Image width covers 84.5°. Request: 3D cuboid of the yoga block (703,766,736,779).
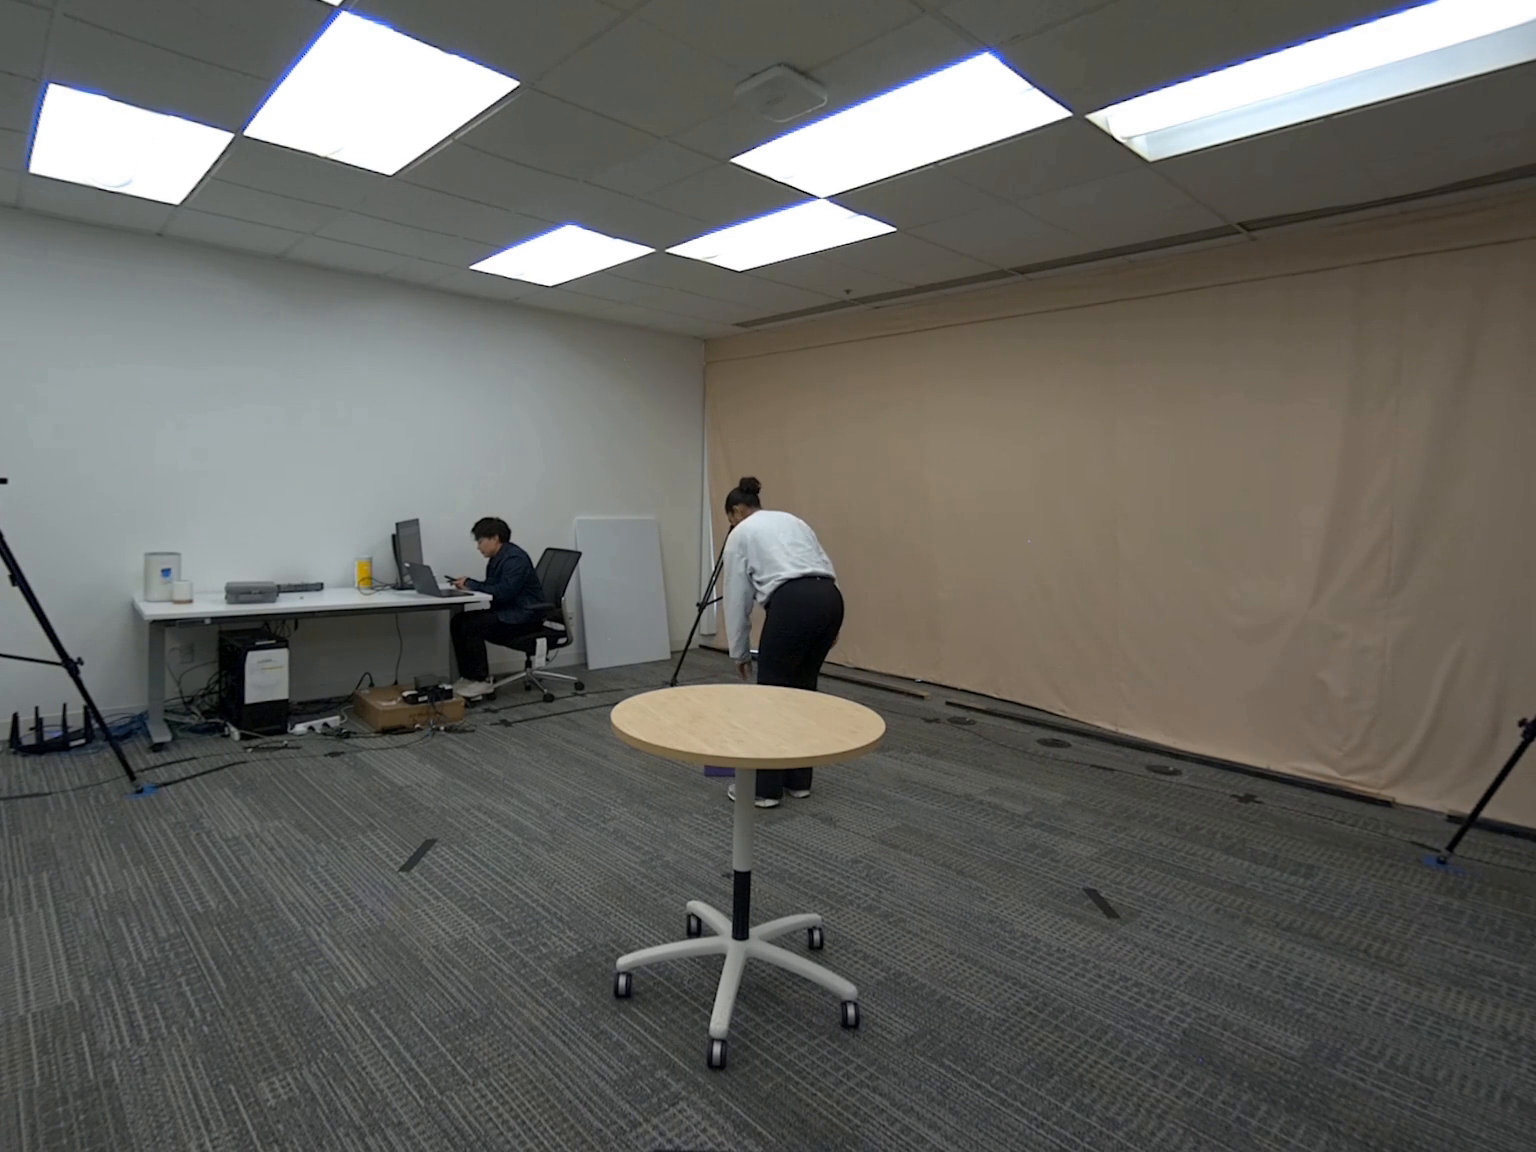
[{"bbox_3d":[-0.216,0.930,4.260,0.229,0.149,0.077,1,3,-2],"label":"yoga block"}]
